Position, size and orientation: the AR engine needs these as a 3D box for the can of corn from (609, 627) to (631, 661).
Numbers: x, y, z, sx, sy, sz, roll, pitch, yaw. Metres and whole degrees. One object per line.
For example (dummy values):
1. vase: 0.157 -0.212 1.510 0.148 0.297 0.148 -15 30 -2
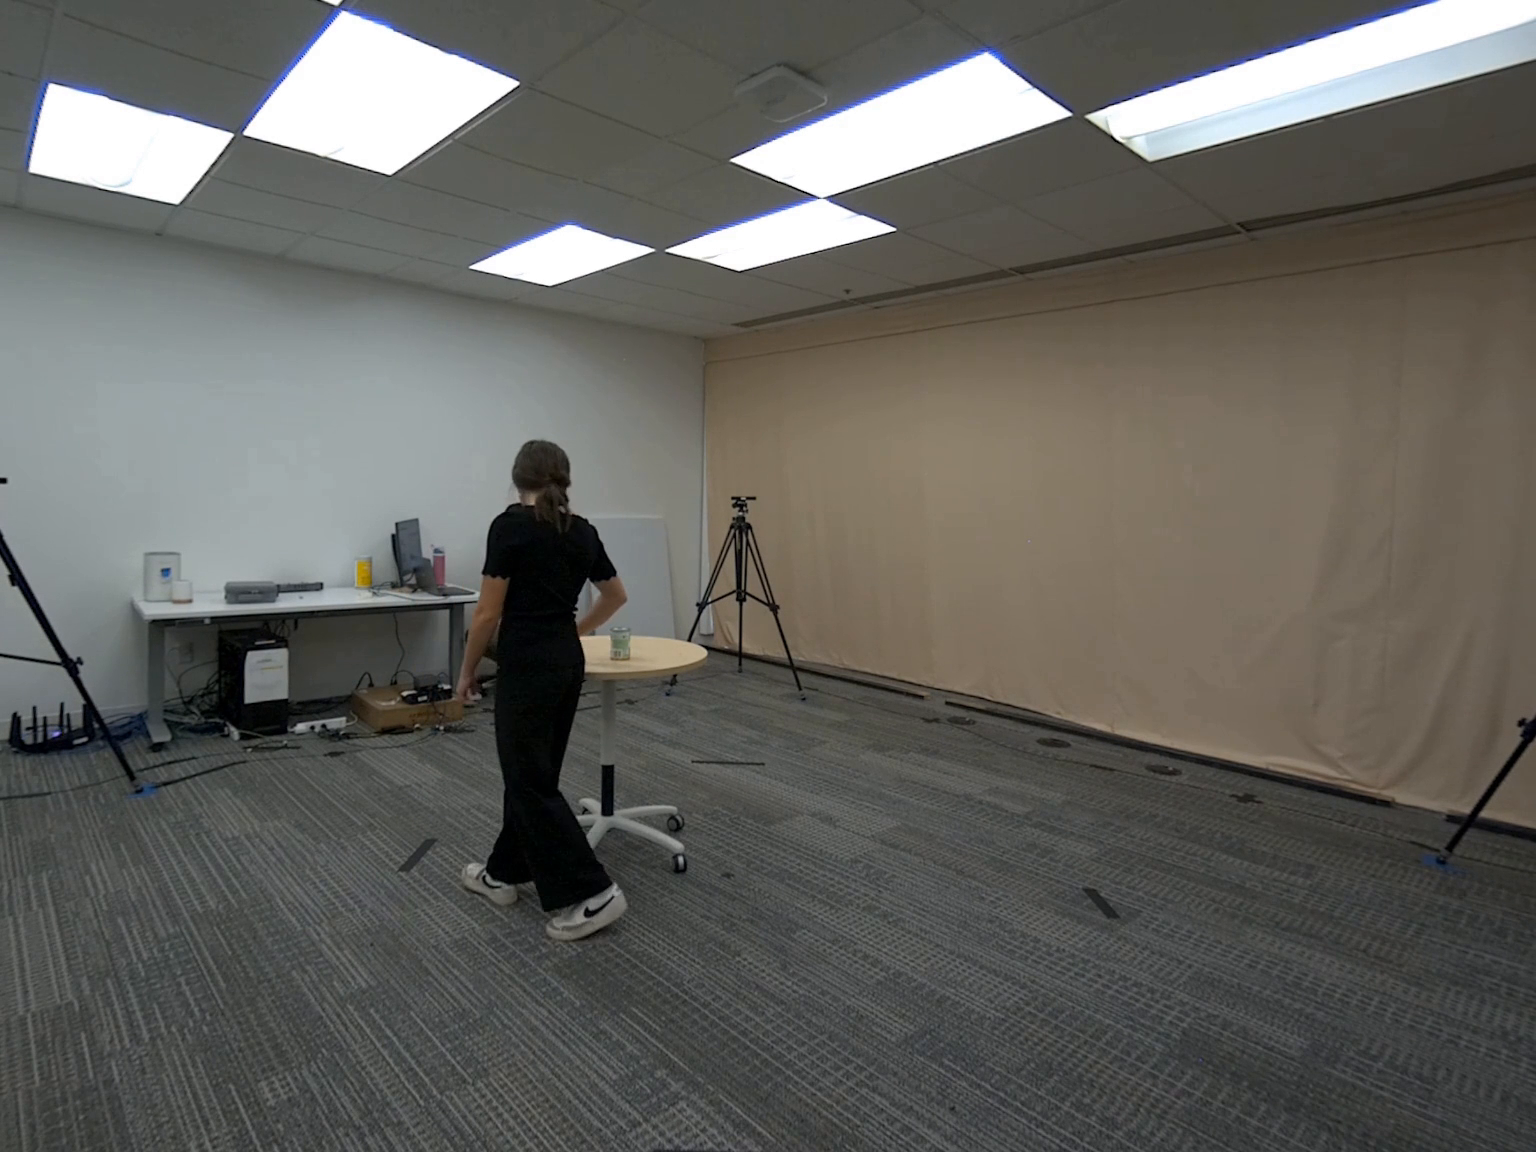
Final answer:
1. can of corn: -0.560 0.256 3.129 0.074 0.111 0.074 -1 3 -1
